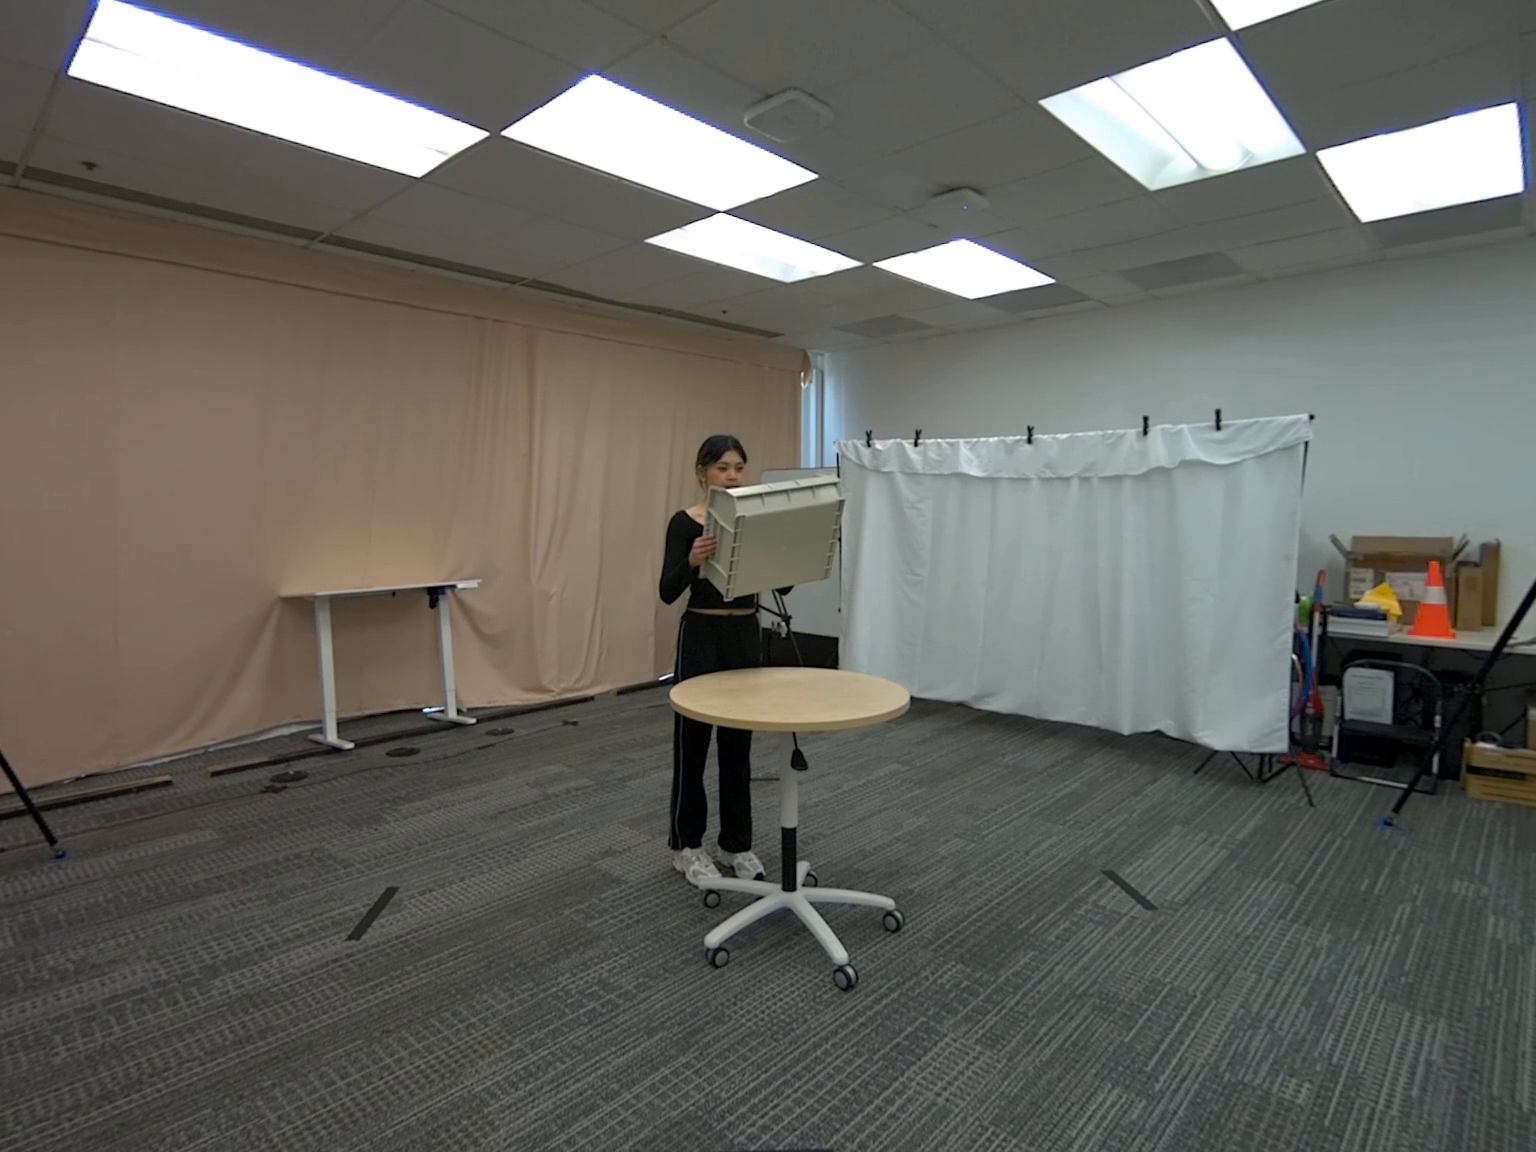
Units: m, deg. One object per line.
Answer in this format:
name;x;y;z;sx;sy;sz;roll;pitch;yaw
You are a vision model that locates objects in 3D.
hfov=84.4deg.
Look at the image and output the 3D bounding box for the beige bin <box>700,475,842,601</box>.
beige bin;0.021;-0.141;2.779;0.412;0.373;0.196;-10;33;-29
